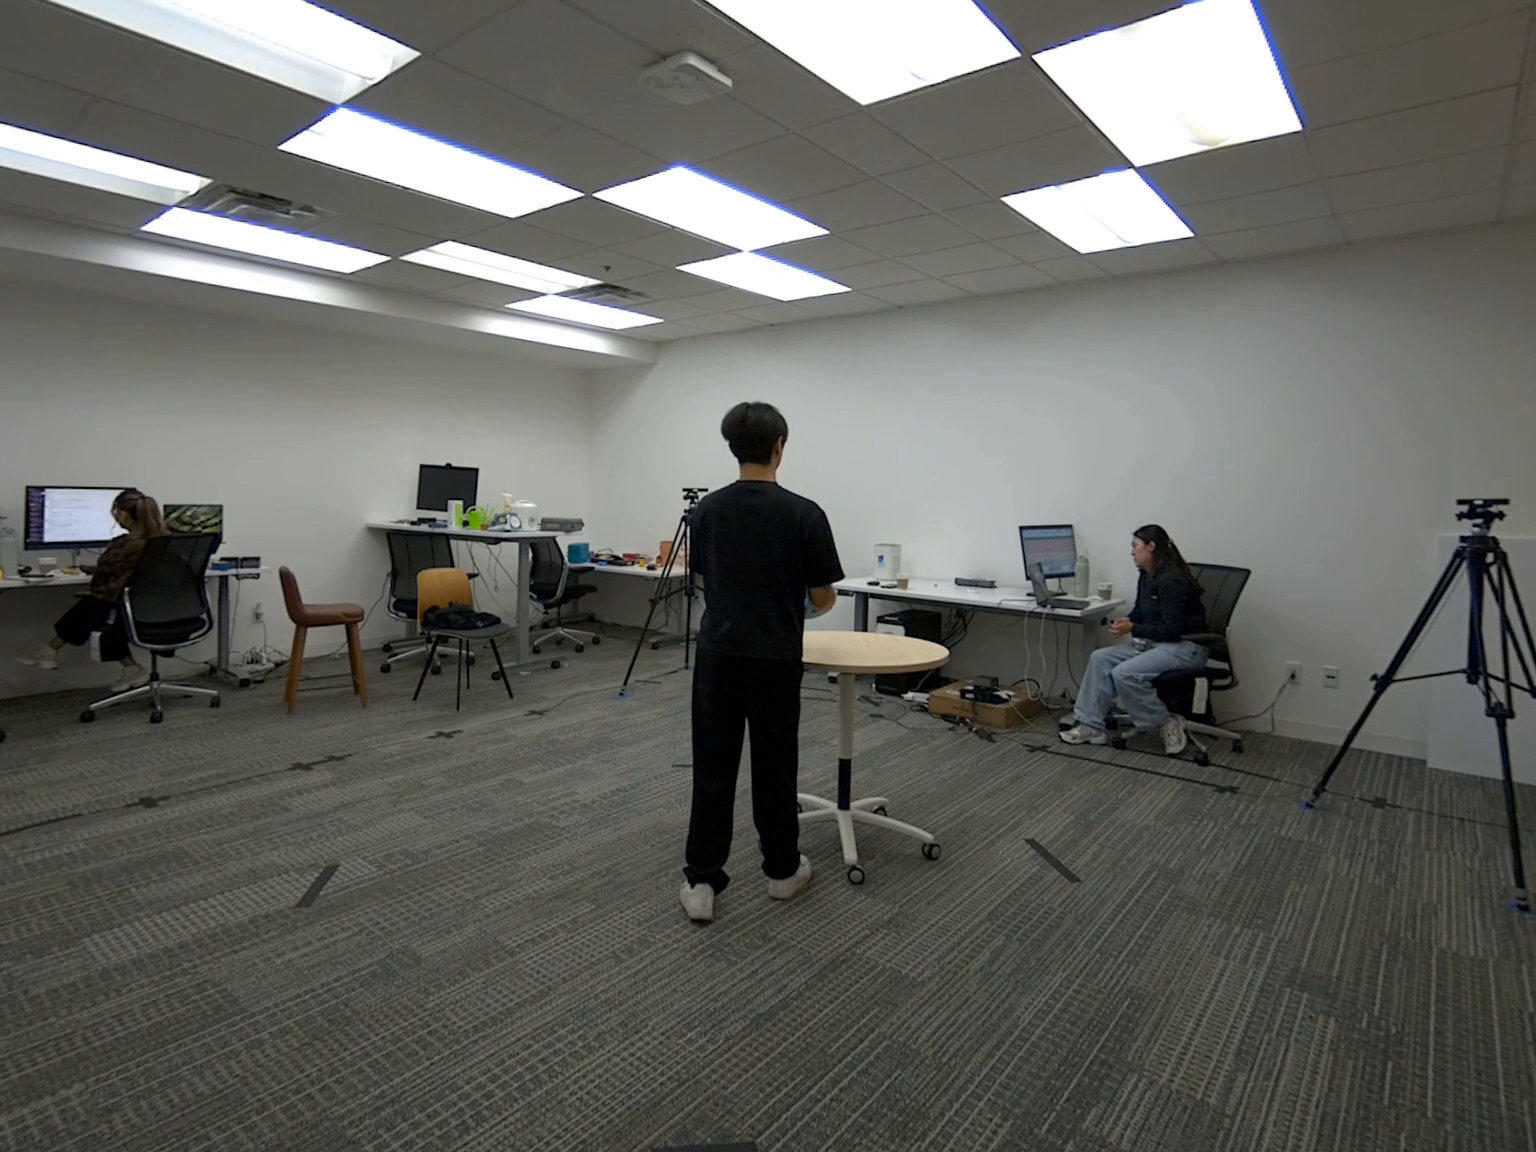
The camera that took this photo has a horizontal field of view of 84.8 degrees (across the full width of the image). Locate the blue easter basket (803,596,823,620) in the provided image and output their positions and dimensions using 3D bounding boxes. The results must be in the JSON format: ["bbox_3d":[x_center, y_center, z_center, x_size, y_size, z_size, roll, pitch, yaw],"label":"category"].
[{"bbox_3d":[0.130,0.054,3.234,0.244,0.152,0.249,-14,26,5],"label":"blue easter basket"}]
